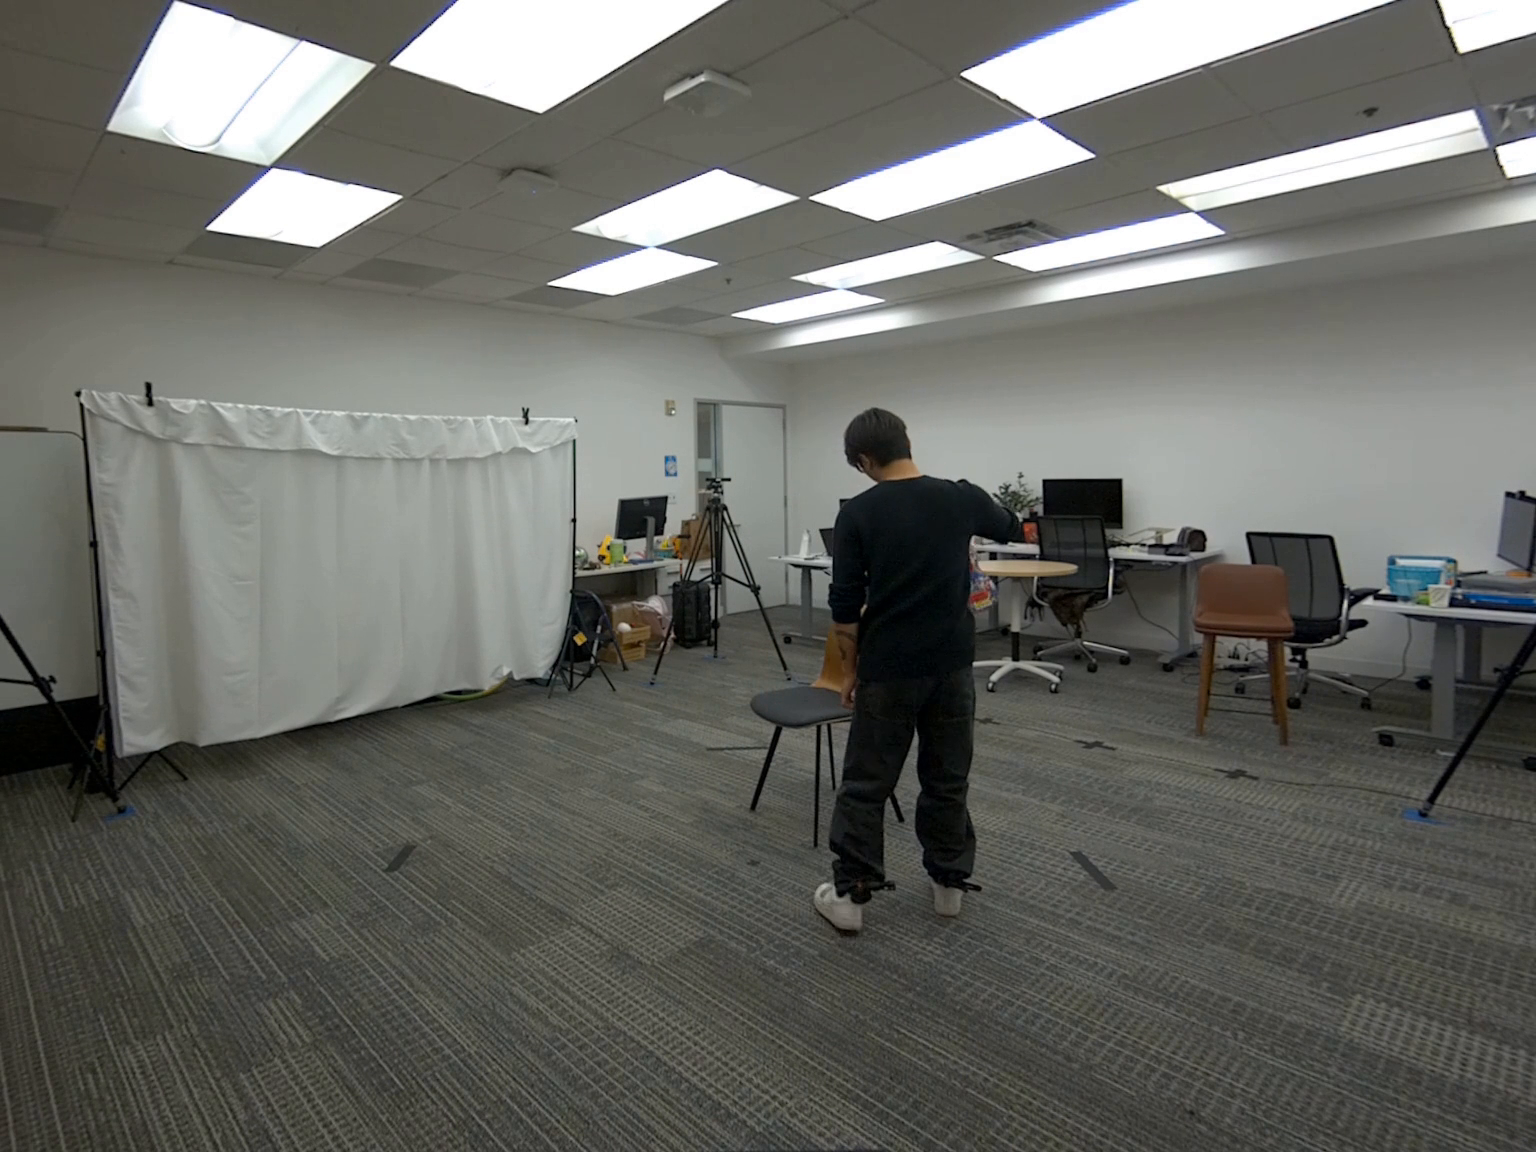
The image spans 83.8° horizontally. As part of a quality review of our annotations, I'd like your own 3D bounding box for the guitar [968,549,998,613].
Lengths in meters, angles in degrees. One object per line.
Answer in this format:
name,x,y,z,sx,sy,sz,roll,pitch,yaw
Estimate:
guitar,0.732,-0.101,3.218,0.189,0.504,0.071,-5,-12,-28
